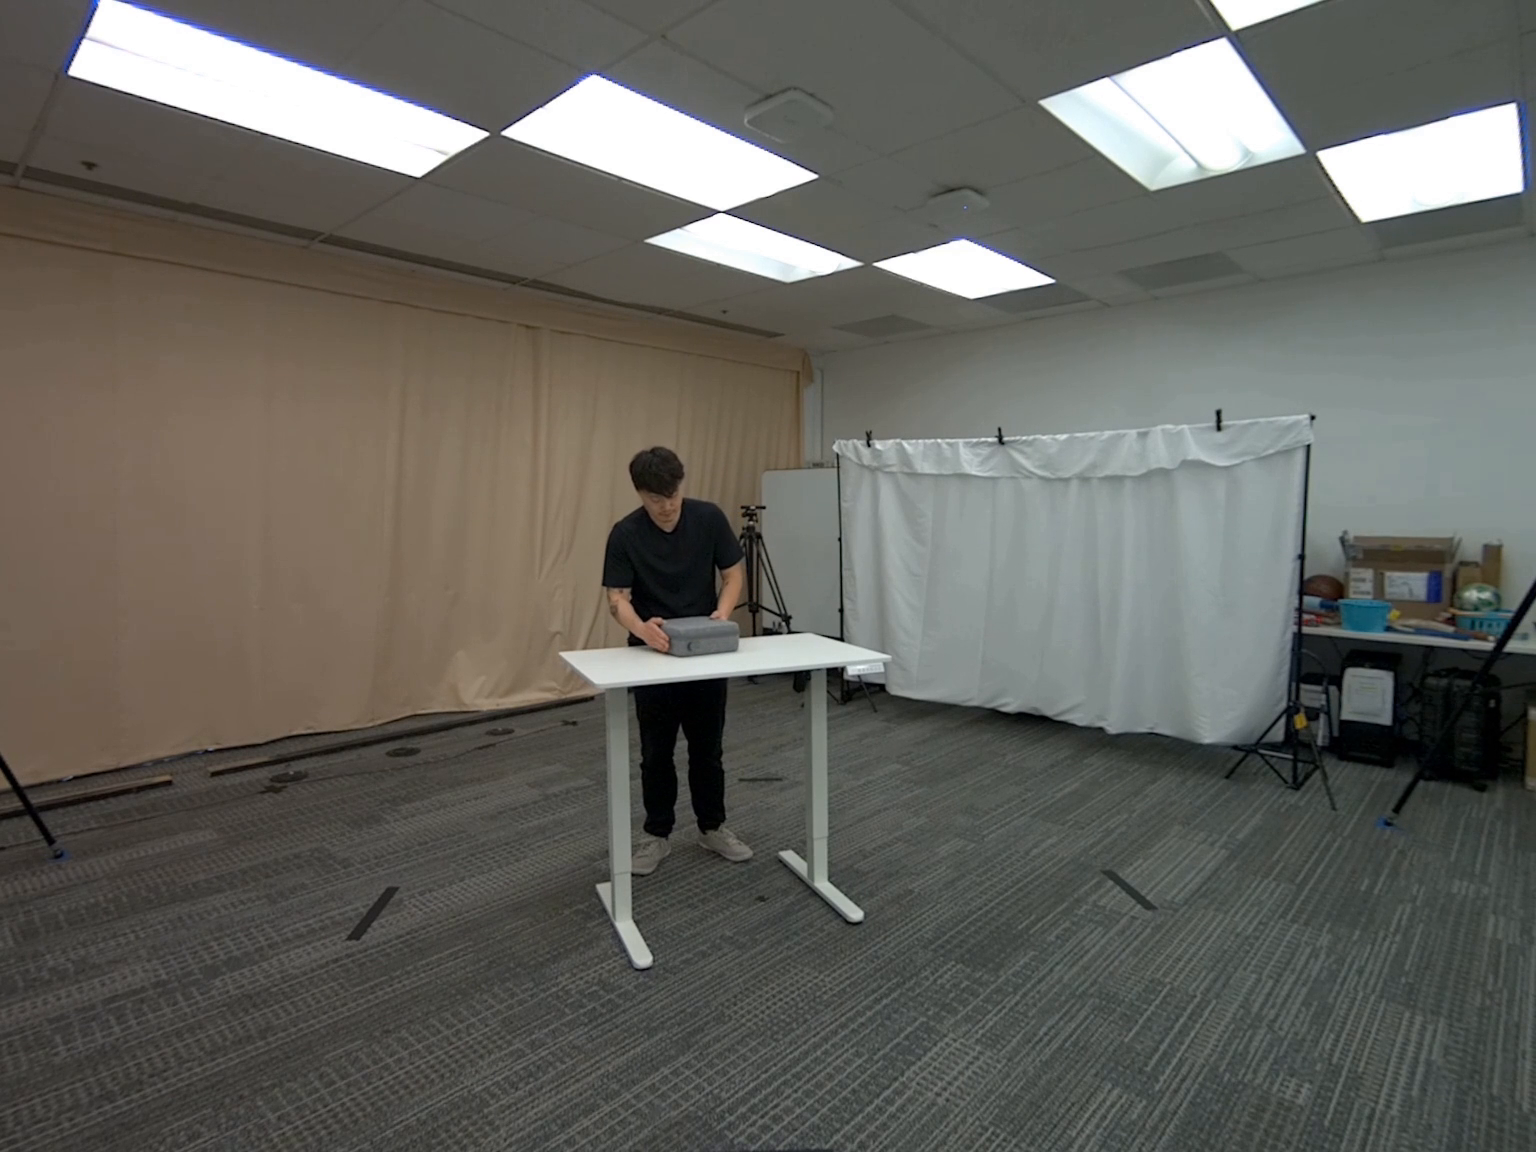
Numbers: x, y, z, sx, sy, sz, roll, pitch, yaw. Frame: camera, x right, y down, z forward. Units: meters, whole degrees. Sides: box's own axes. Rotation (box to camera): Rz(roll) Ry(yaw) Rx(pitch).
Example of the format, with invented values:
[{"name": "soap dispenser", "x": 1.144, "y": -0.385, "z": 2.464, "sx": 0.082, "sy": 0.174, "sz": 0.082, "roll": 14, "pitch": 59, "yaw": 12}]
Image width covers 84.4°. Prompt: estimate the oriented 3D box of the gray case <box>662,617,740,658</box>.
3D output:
[{"name": "gray case", "x": -0.256, "y": 0.212, "z": 2.983, "sx": 0.254, "sy": 0.104, "sz": 0.265, "roll": -4, "pitch": 6, "yaw": -31}]
